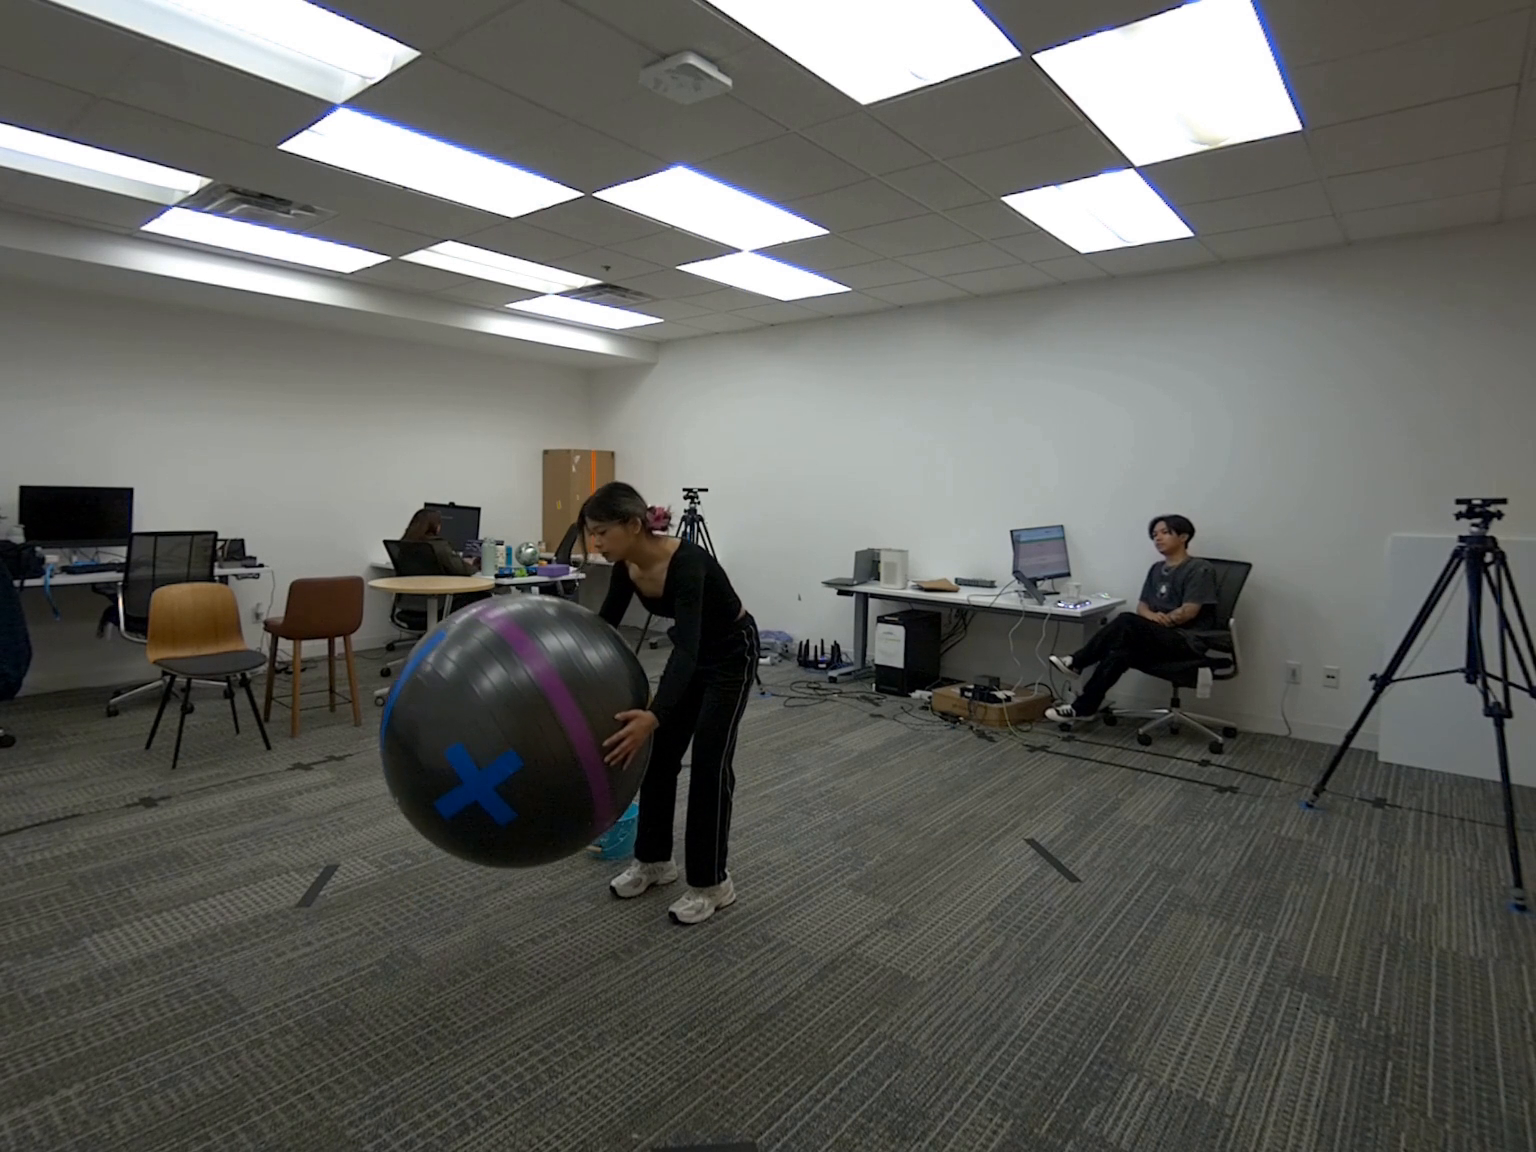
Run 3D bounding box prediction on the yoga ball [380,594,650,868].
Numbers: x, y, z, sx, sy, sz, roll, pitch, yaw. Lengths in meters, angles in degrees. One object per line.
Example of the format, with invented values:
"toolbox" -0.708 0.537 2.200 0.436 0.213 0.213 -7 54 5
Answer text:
"yoga ball" -0.722 0.433 2.420 0.757 0.755 0.762 1 4 -2
